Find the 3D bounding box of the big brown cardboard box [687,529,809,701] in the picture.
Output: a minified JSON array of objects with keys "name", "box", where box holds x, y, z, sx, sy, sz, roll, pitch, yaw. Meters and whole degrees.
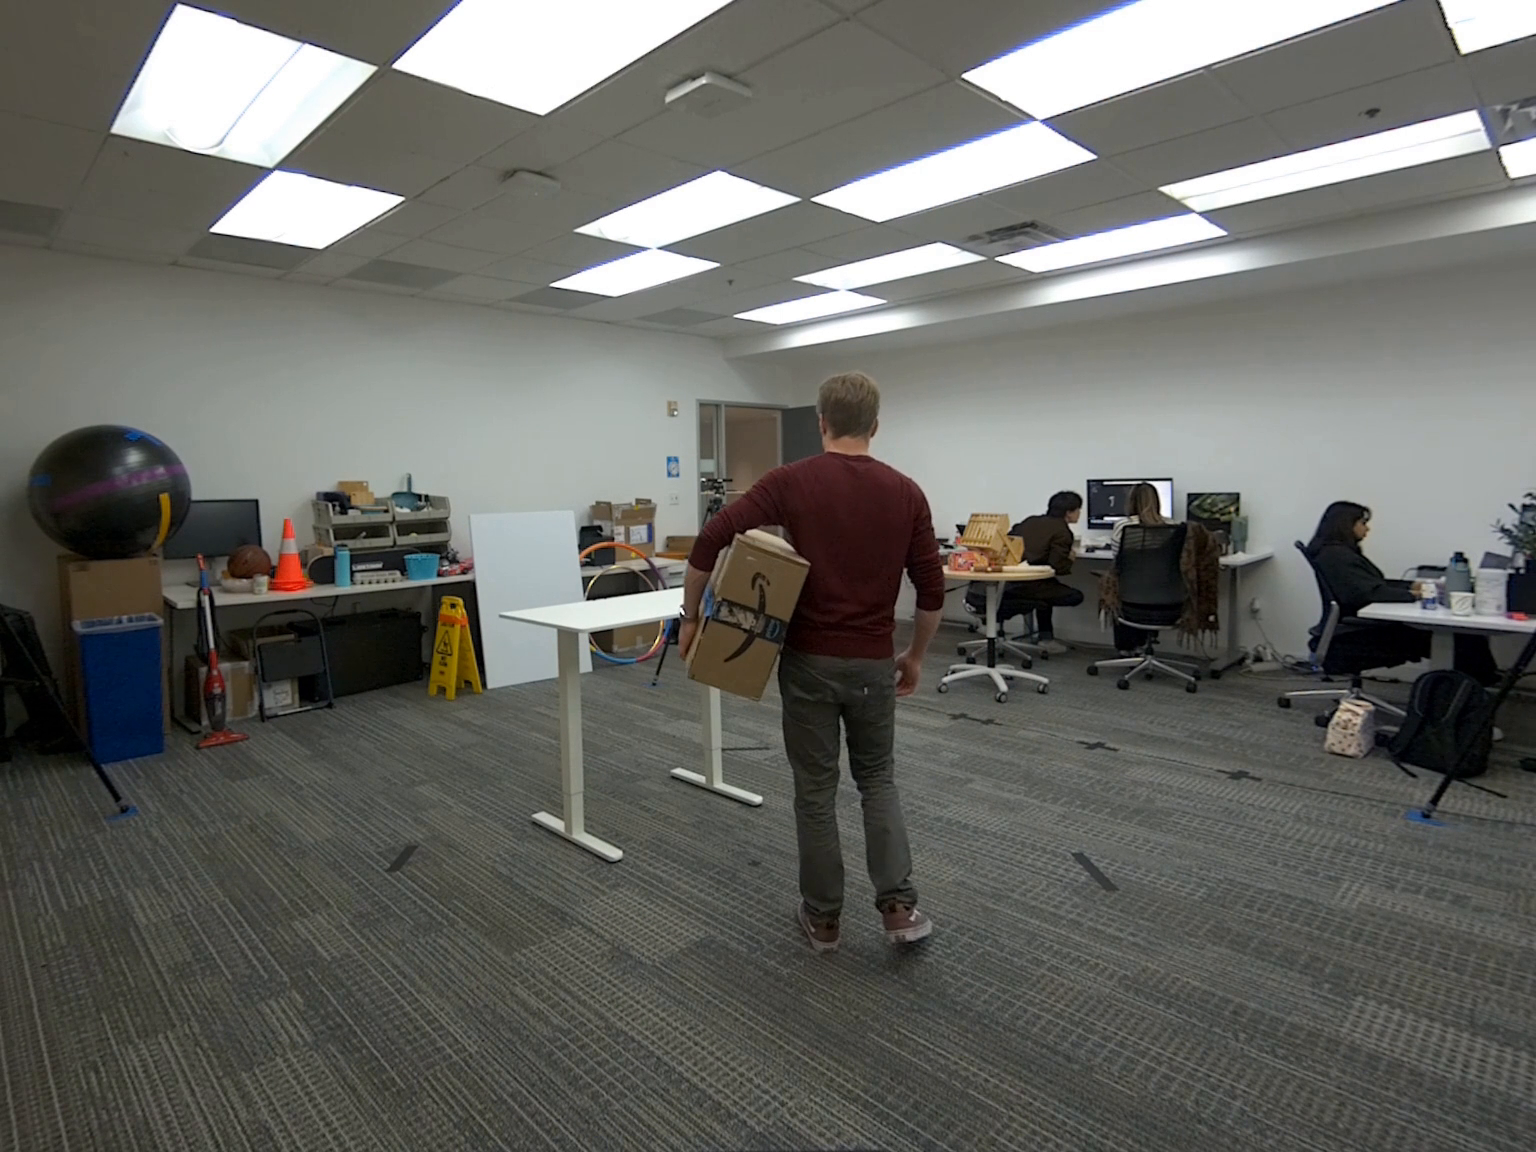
[{"name":"big brown cardboard box","box":[-0.096,0.078,2.609,0.232,0.416,0.593,19,6,-6]}]
